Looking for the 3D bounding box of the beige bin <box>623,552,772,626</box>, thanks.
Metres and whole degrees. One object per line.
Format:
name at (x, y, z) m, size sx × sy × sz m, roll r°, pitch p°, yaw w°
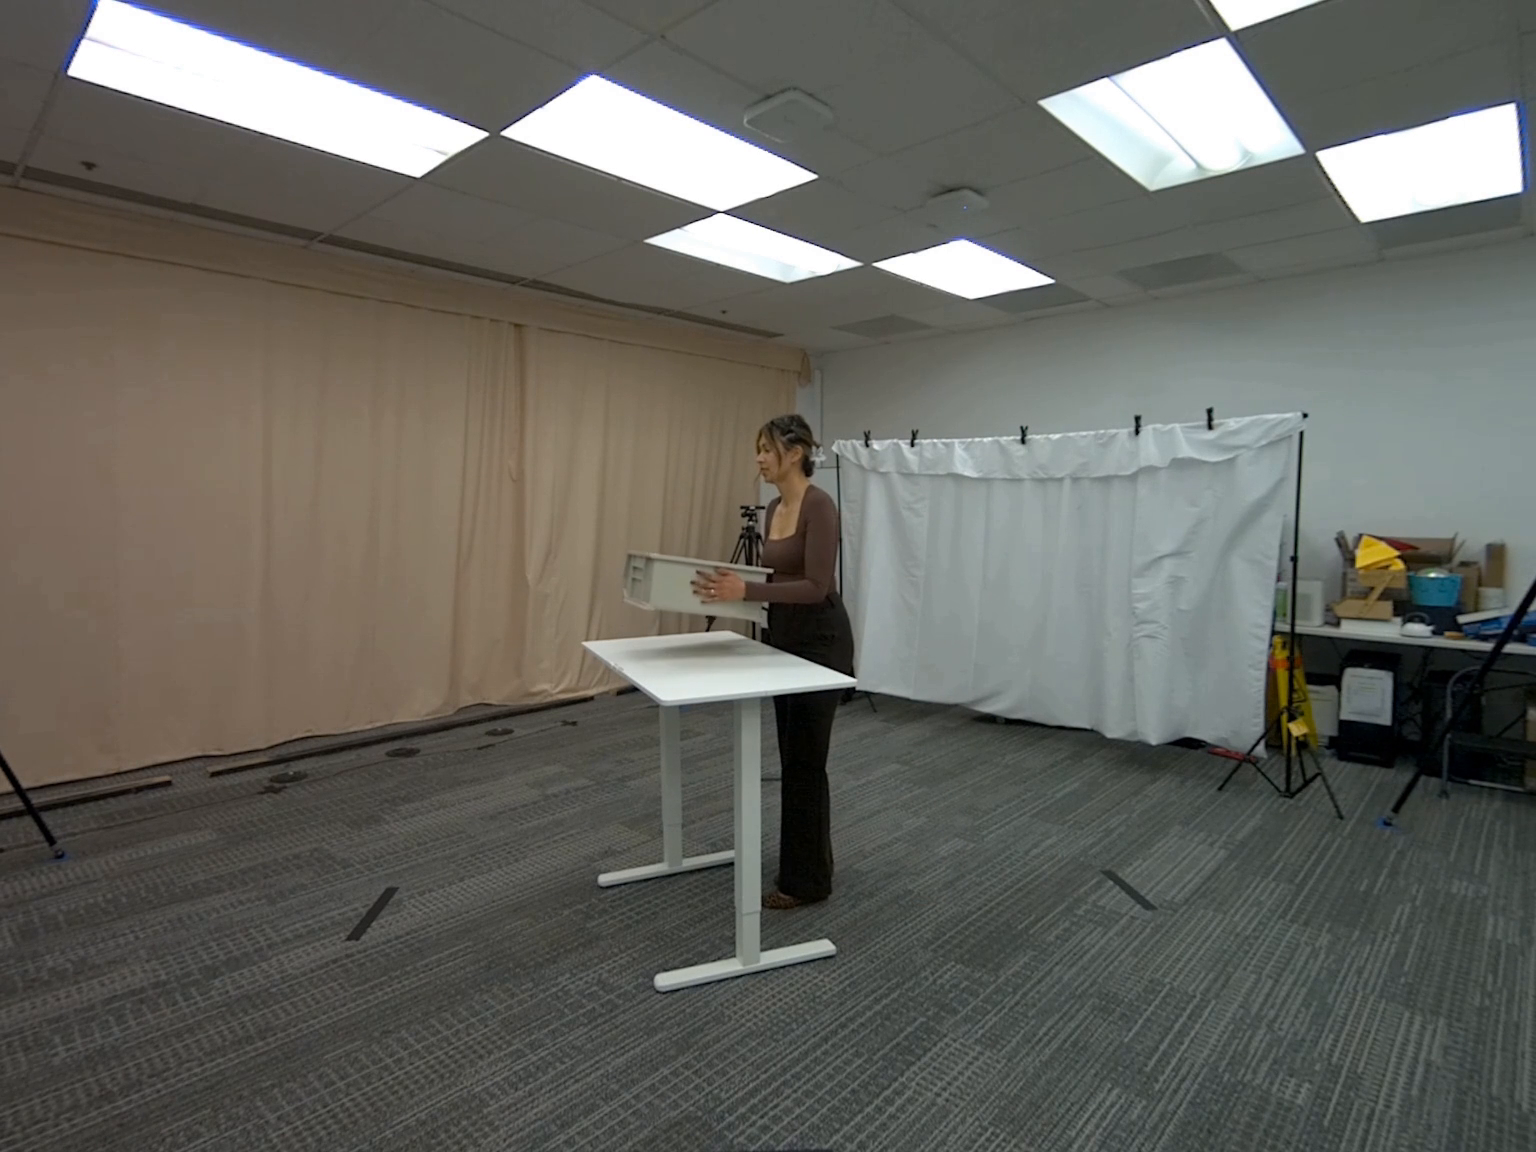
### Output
beige bin at (-0.256, 0.036, 2.897) m, size 0.413 × 0.189 × 0.386 m, roll 8°, pitch 1°, yaw -21°
